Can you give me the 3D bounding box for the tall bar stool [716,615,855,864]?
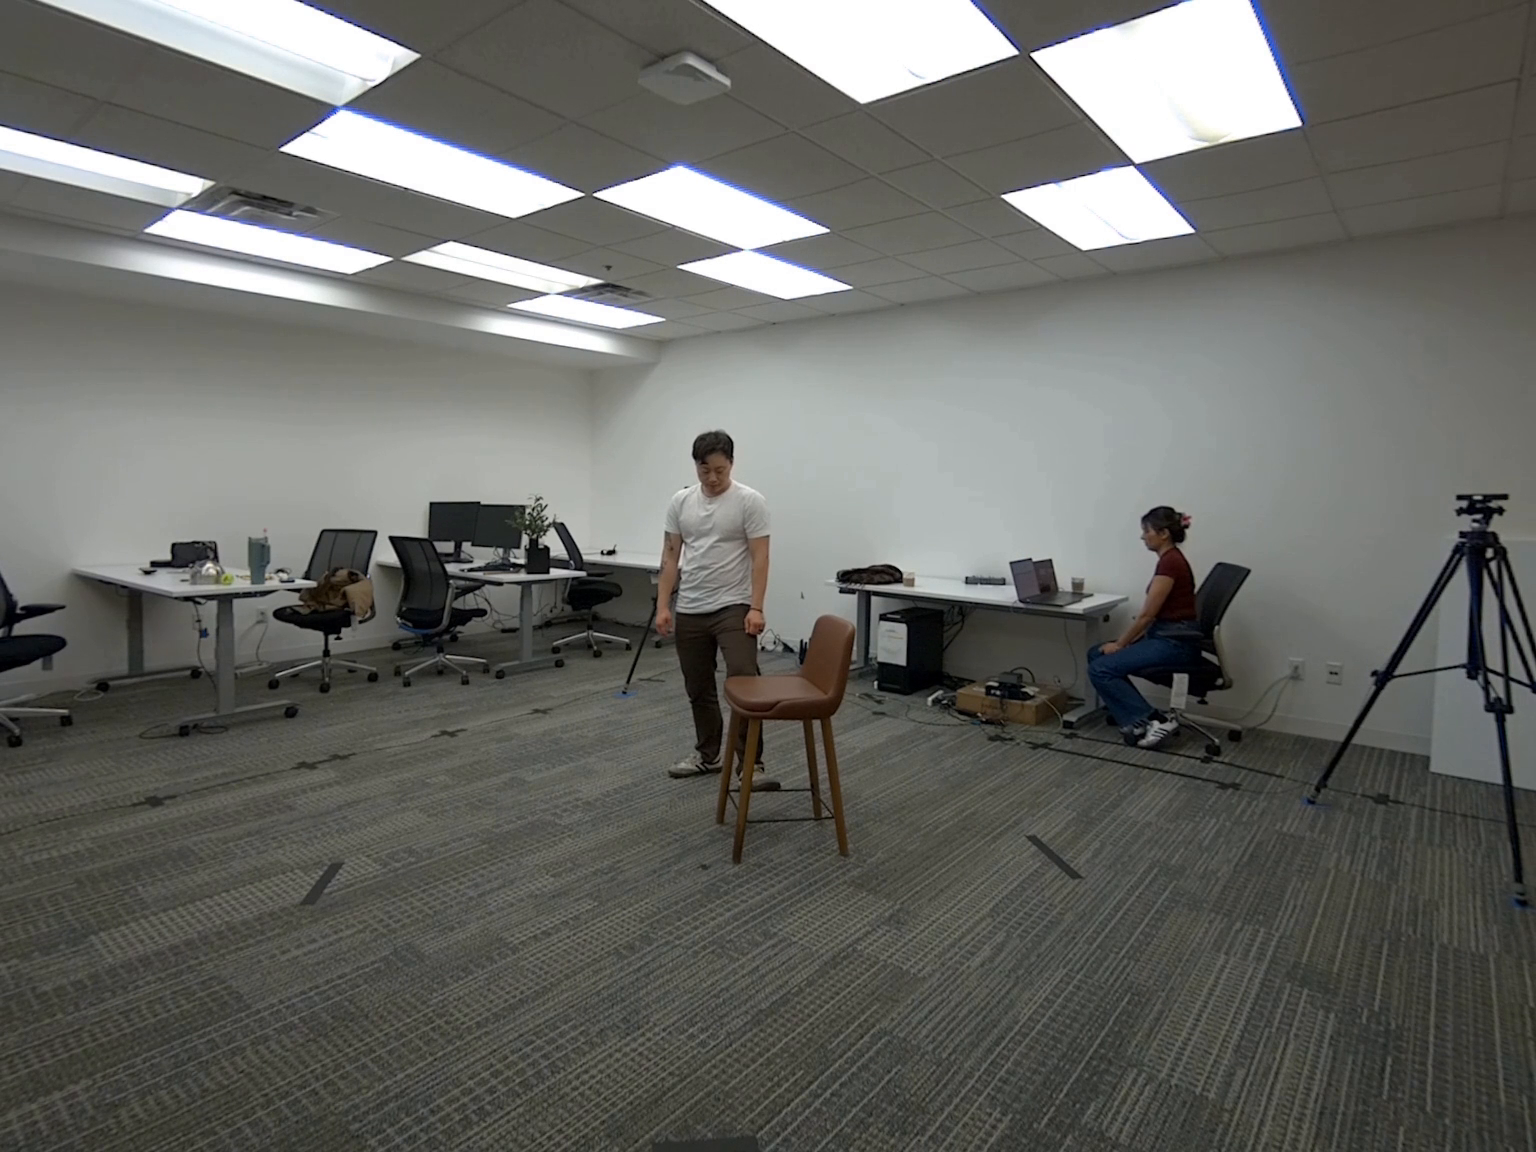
[{"bbox_3d":[0.055,0.608,3.361,0.462,0.887,0.463,2,3,-11],"label":"tall bar stool"}]
